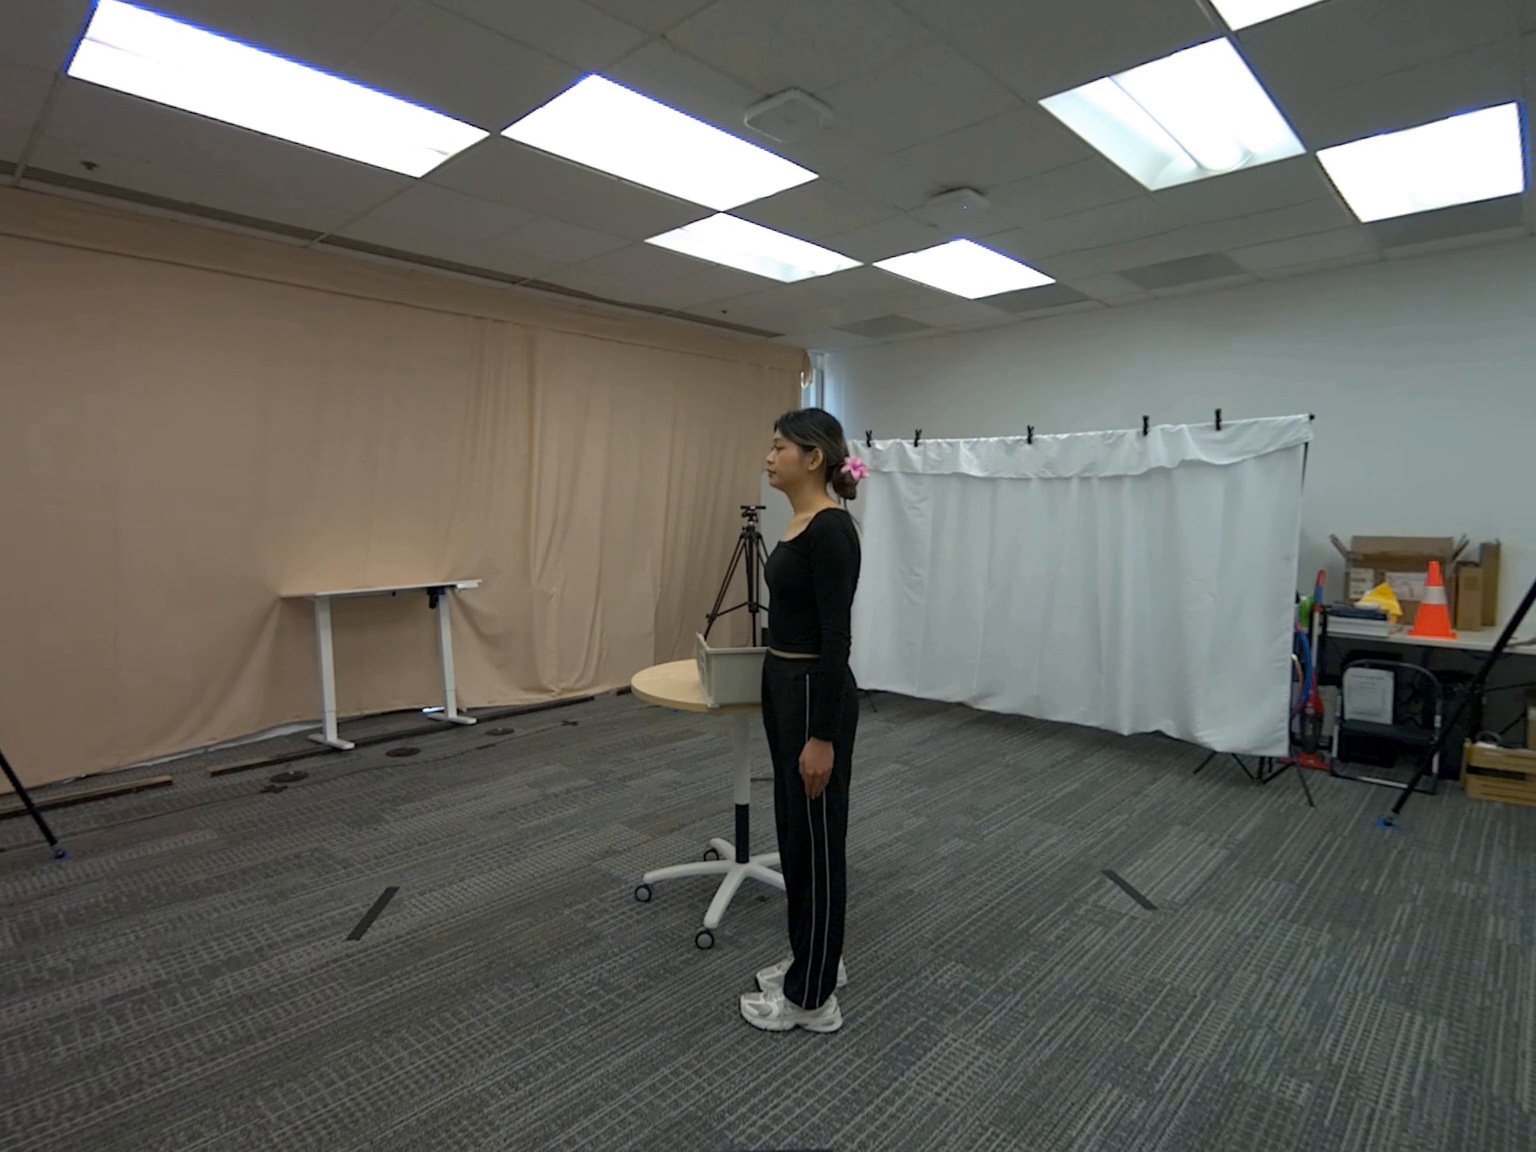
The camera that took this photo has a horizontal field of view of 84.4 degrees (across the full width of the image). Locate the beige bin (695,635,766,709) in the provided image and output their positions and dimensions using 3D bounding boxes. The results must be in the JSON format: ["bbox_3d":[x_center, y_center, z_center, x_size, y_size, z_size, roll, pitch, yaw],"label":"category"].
[{"bbox_3d":[-0.009,0.286,2.711,0.419,0.188,0.381,-1,6,-8],"label":"beige bin"}]
